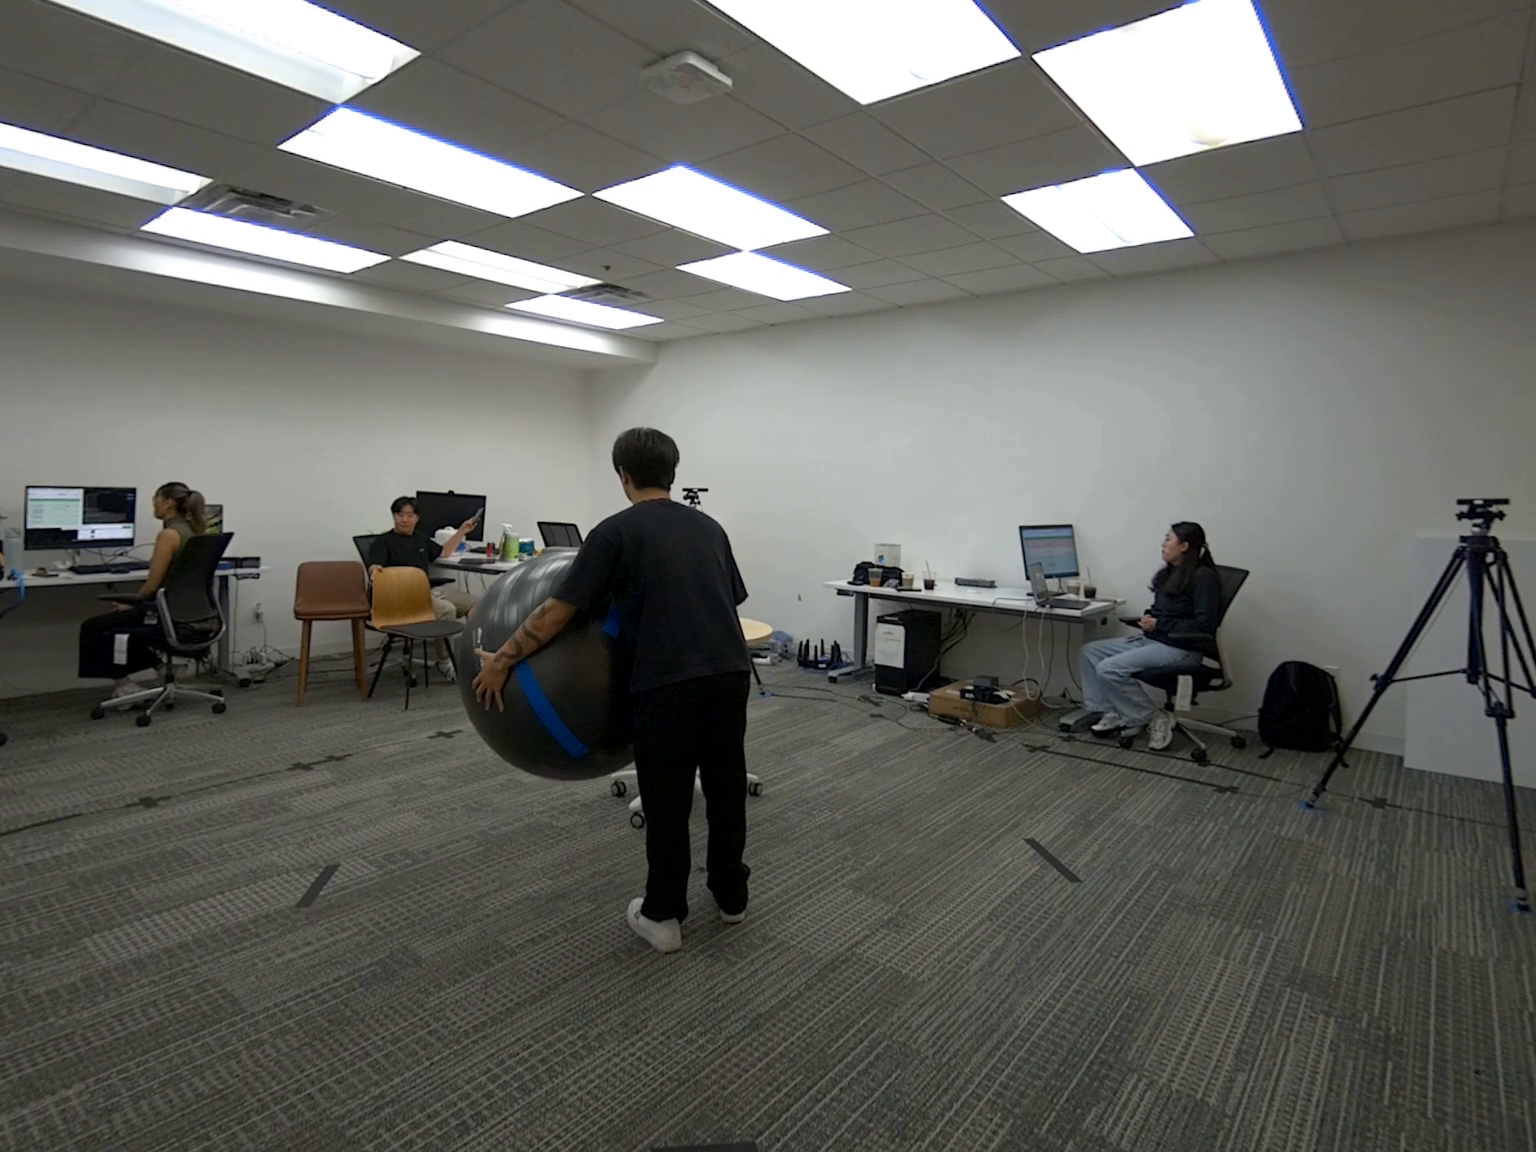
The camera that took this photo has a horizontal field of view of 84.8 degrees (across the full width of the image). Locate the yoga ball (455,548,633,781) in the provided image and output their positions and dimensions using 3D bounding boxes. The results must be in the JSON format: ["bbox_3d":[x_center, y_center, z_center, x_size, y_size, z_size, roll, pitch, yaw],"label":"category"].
[{"bbox_3d":[-0.665,0.301,2.865,0.757,0.755,0.762,1,4,-2],"label":"yoga ball"}]
